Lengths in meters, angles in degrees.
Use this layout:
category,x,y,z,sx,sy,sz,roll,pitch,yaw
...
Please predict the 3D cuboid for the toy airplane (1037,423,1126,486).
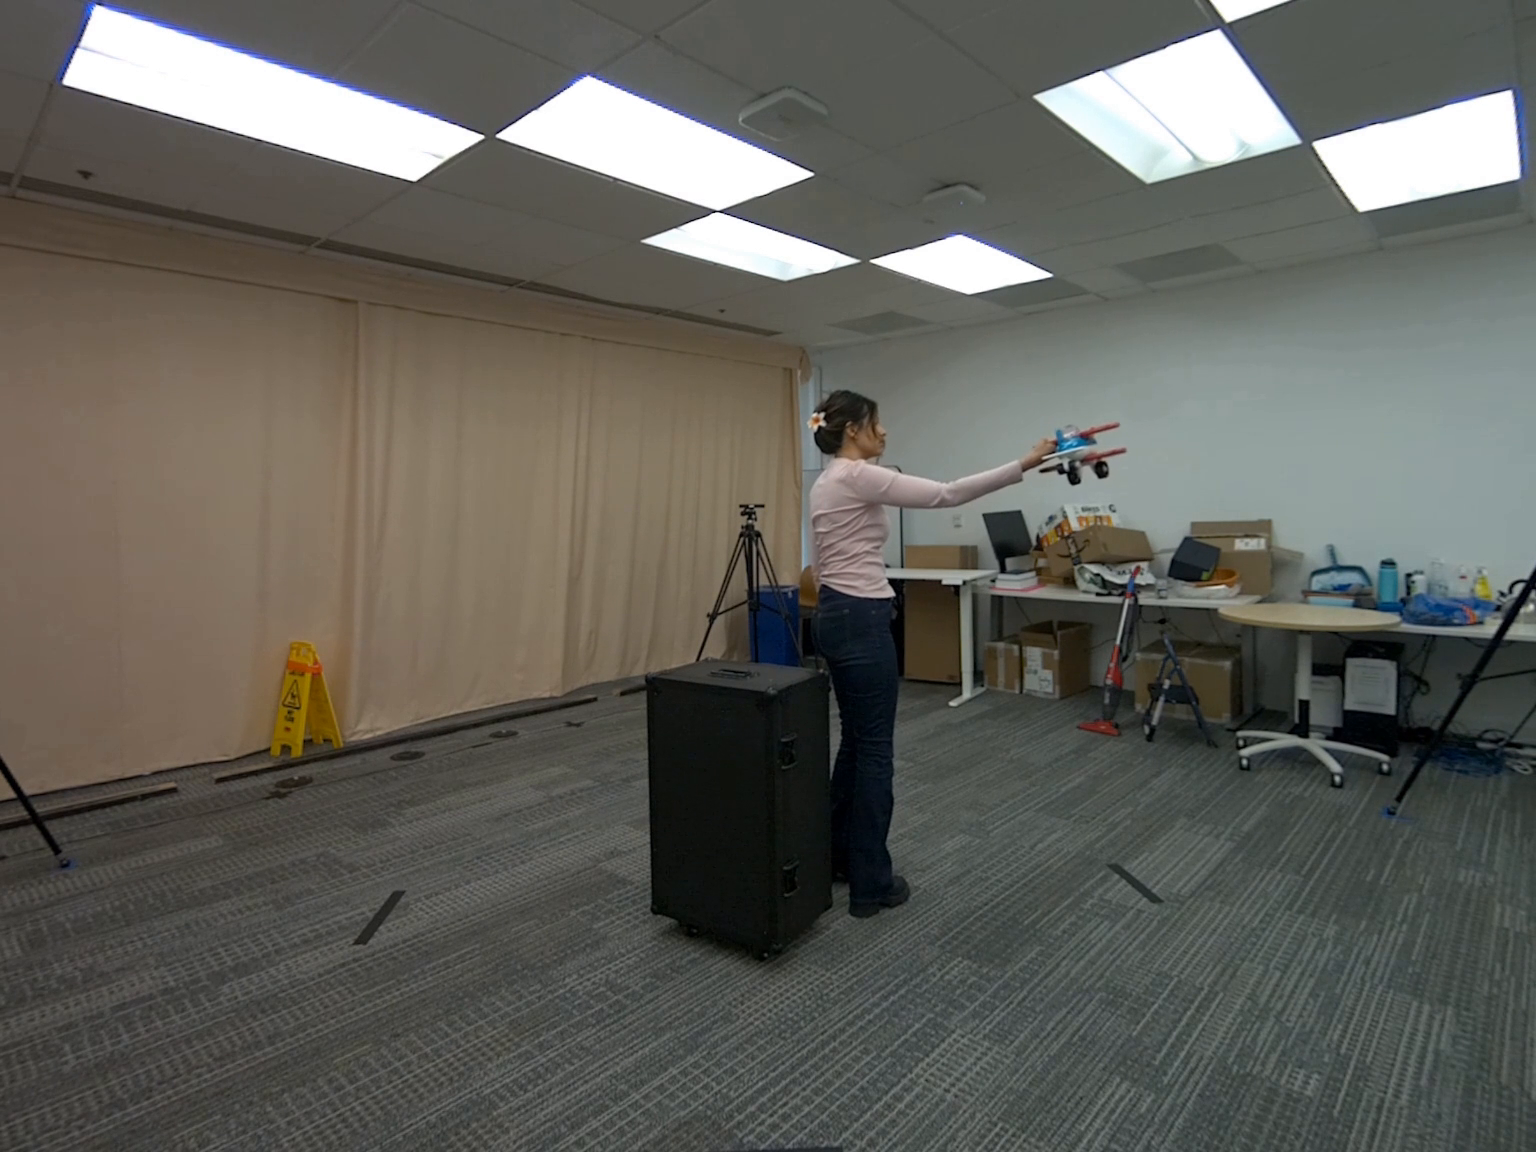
category,x,y,z,sx,sy,sz,roll,pitch,yaw
toy airplane,0.963,-0.379,2.537,0.254,0.158,0.254,-9,-12,12
